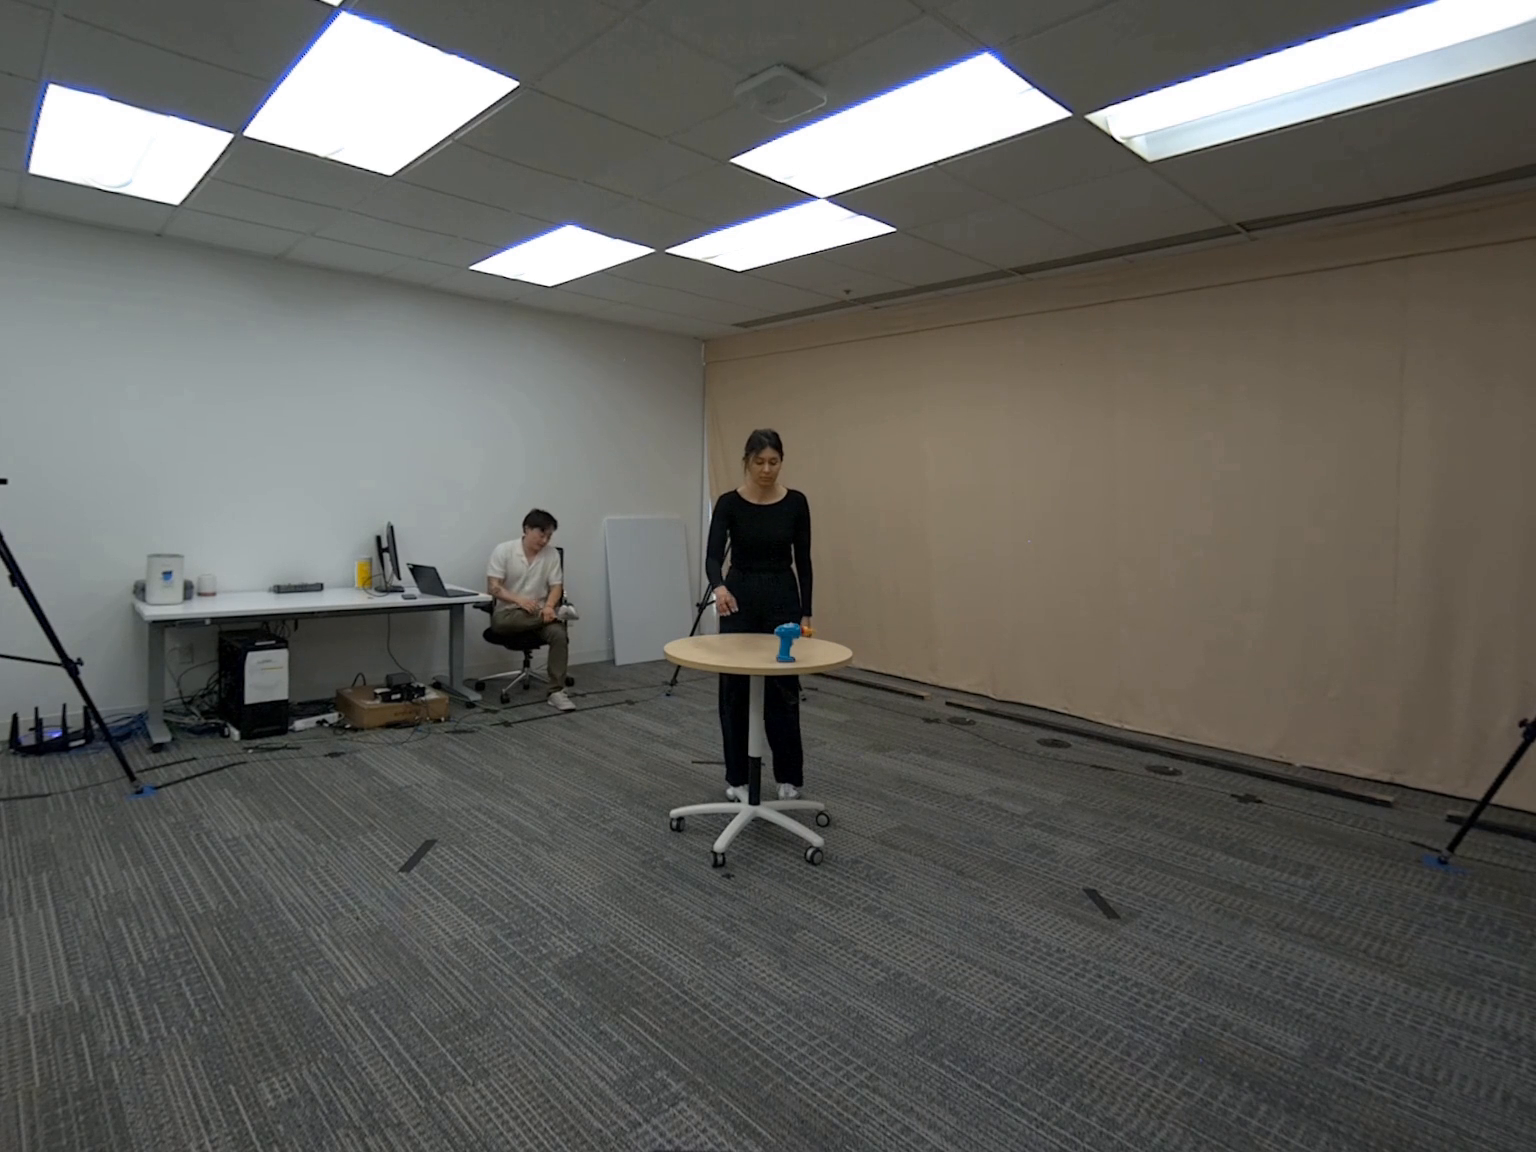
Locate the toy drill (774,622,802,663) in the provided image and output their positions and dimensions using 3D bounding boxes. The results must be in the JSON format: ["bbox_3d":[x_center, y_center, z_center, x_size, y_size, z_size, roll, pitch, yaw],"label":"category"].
[{"bbox_3d":[0.094,0.250,3.185,0.167,0.145,0.062,-1,5,-22],"label":"toy drill"}]
